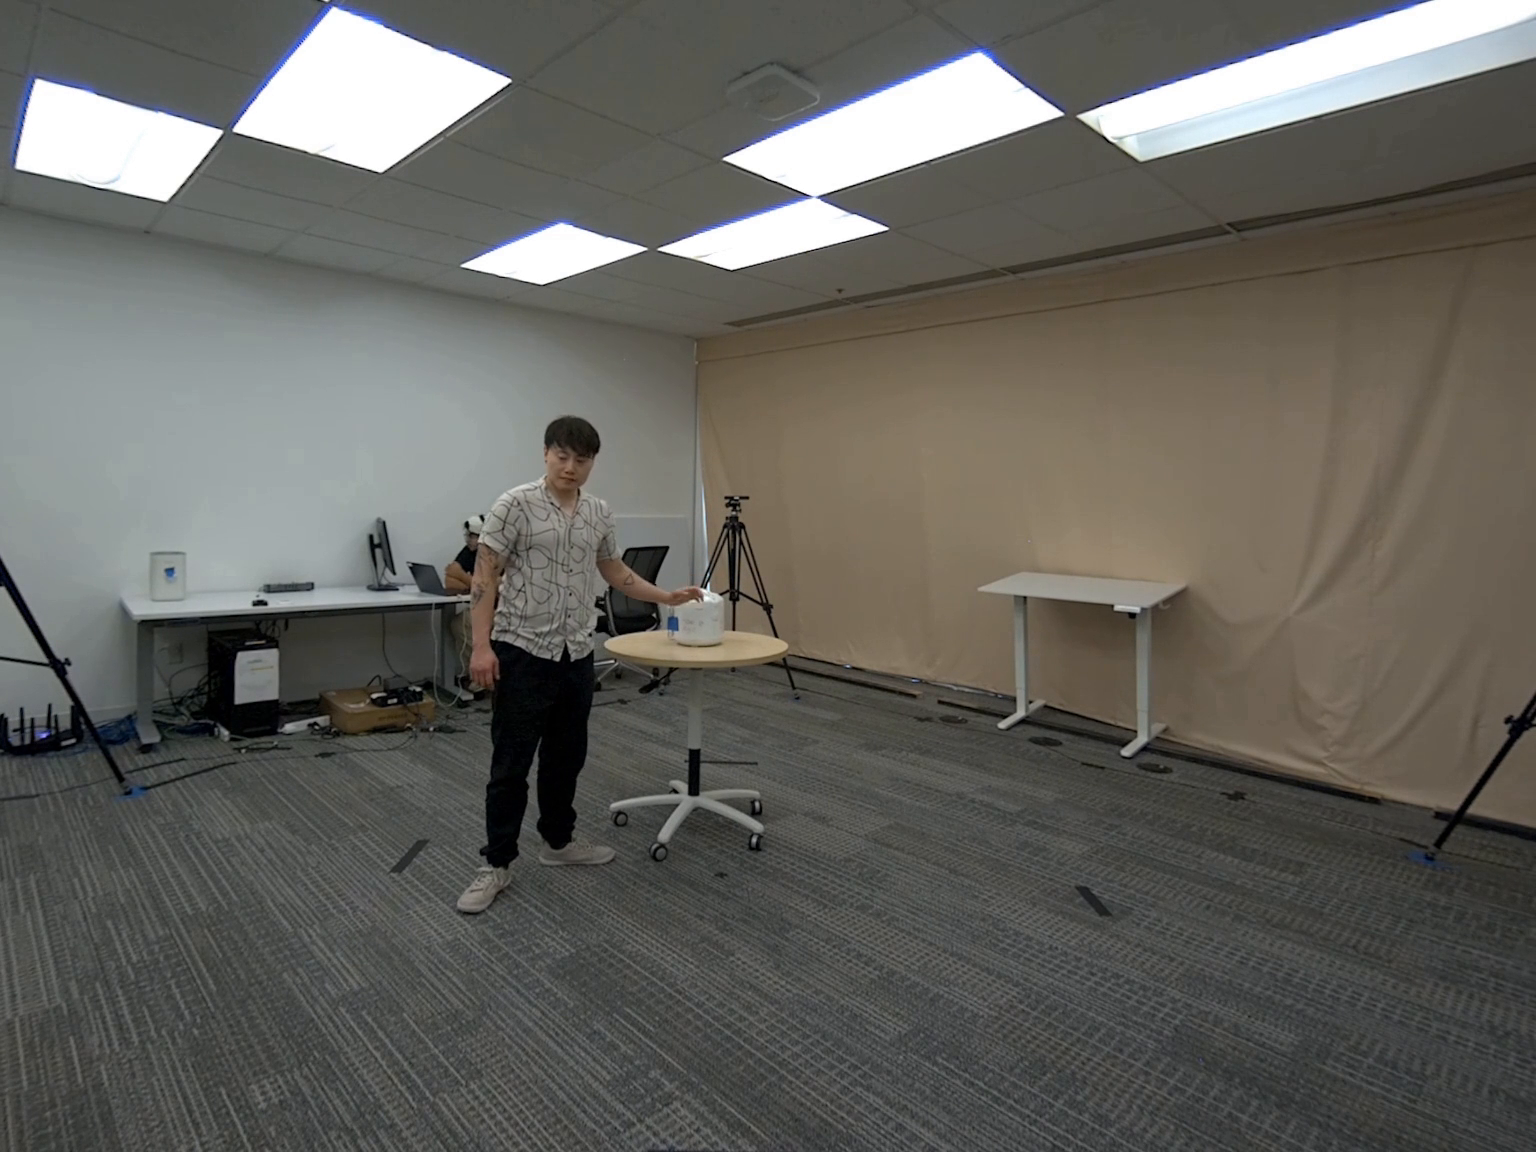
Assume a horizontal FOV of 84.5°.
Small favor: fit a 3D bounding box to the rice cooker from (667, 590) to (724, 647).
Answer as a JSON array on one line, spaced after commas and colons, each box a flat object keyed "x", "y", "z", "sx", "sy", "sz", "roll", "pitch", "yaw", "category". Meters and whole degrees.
[{"x": -0.291, "y": 0.166, "z": 3.513, "sx": 0.212, "sy": 0.232, "sz": 0.226, "roll": -3, "pitch": 6, "yaw": -42, "category": "rice cooker"}]
